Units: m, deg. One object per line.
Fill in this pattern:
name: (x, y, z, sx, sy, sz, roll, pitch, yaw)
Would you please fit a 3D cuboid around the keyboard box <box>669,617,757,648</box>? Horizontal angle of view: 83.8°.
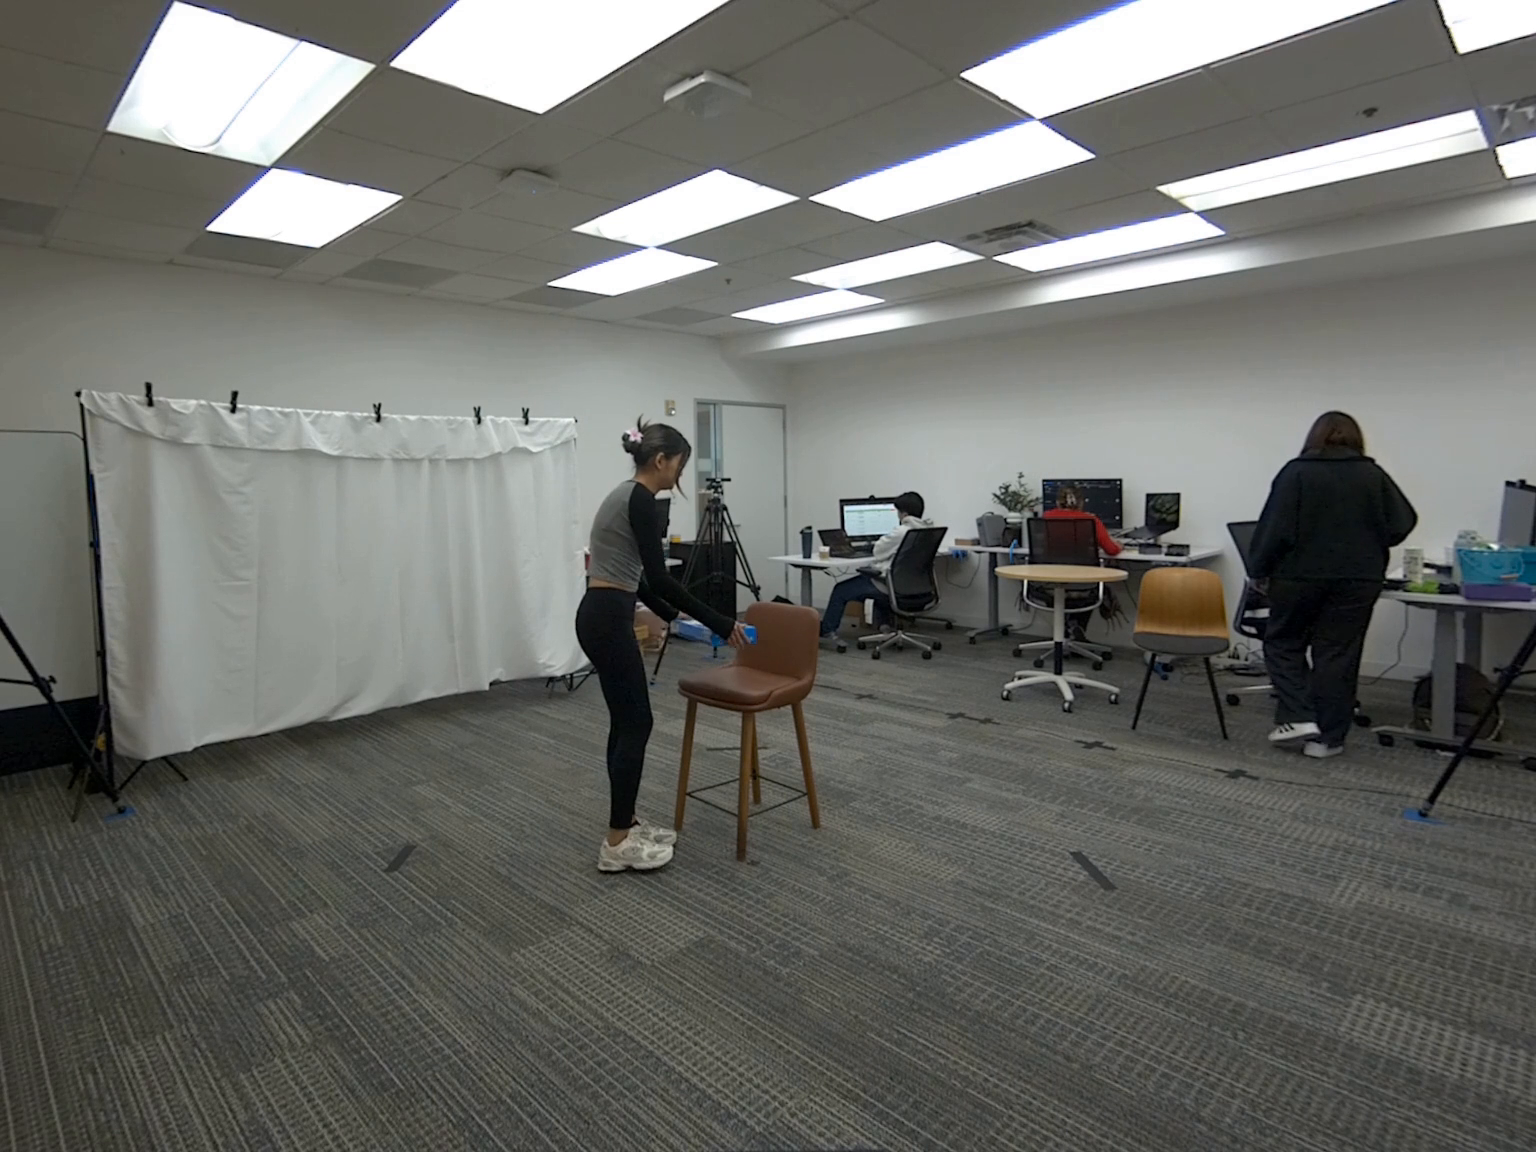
keyboard box: (-0.226, 0.207, 3.286, 0.172, 0.059, 0.447, -1, 2, -26)
